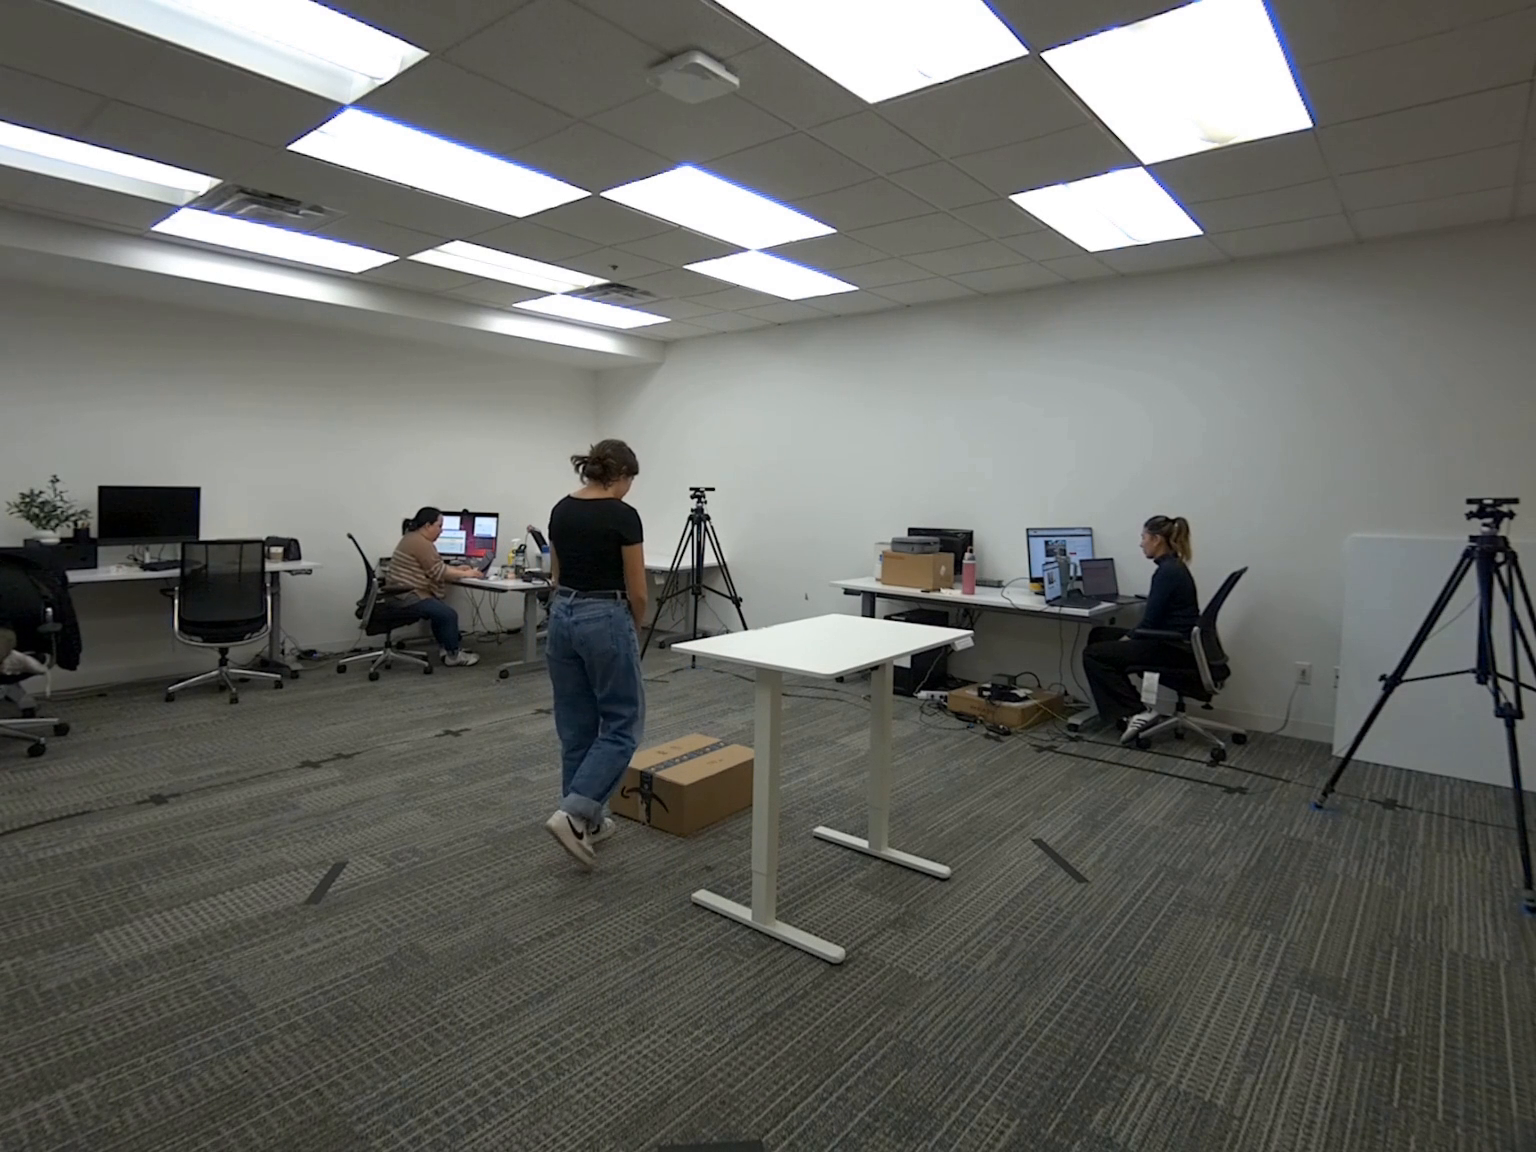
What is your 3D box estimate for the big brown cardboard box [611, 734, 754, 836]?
[{"bbox_3d":[-0.349,0.892,3.721,0.431,0.232,0.572,6,7,36],"label":"big brown cardboard box"}]
